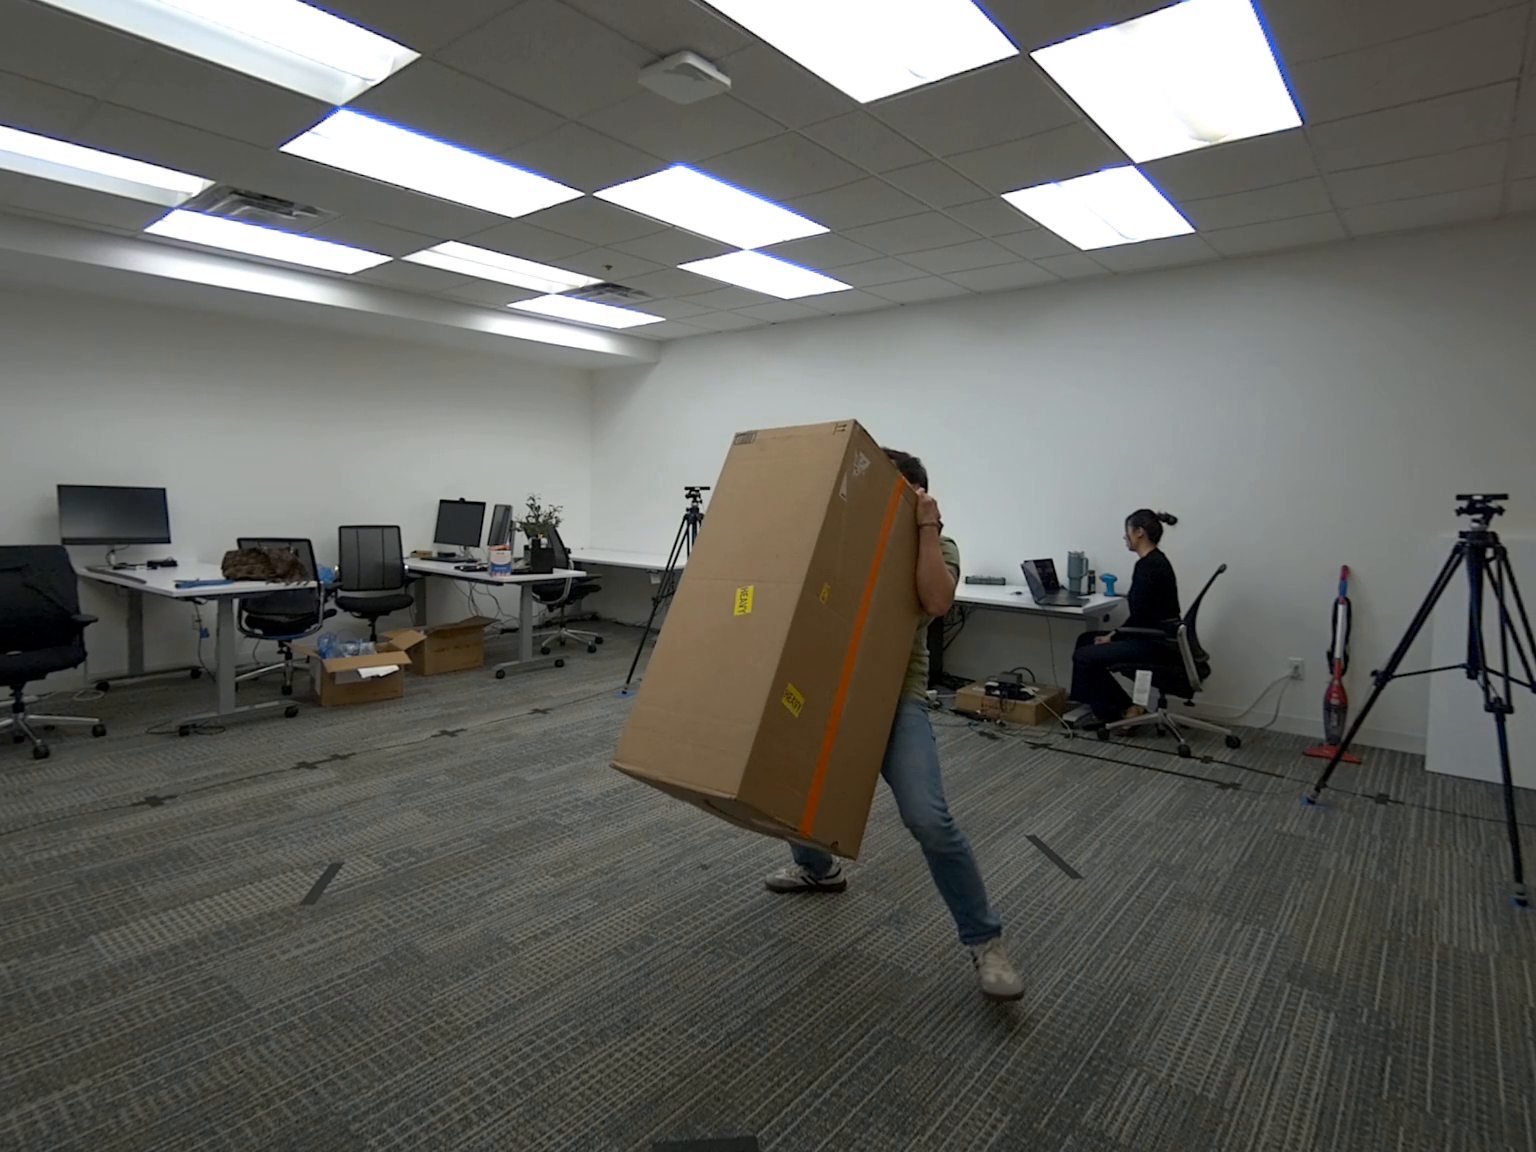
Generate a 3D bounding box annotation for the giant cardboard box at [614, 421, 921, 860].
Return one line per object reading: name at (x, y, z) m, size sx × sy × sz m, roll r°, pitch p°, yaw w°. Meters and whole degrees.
giant cardboard box at (0.064, 0.175, 2.373) m, size 0.440 × 1.037 × 0.553 m, roll 0°, pitch -27°, yaw 41°
